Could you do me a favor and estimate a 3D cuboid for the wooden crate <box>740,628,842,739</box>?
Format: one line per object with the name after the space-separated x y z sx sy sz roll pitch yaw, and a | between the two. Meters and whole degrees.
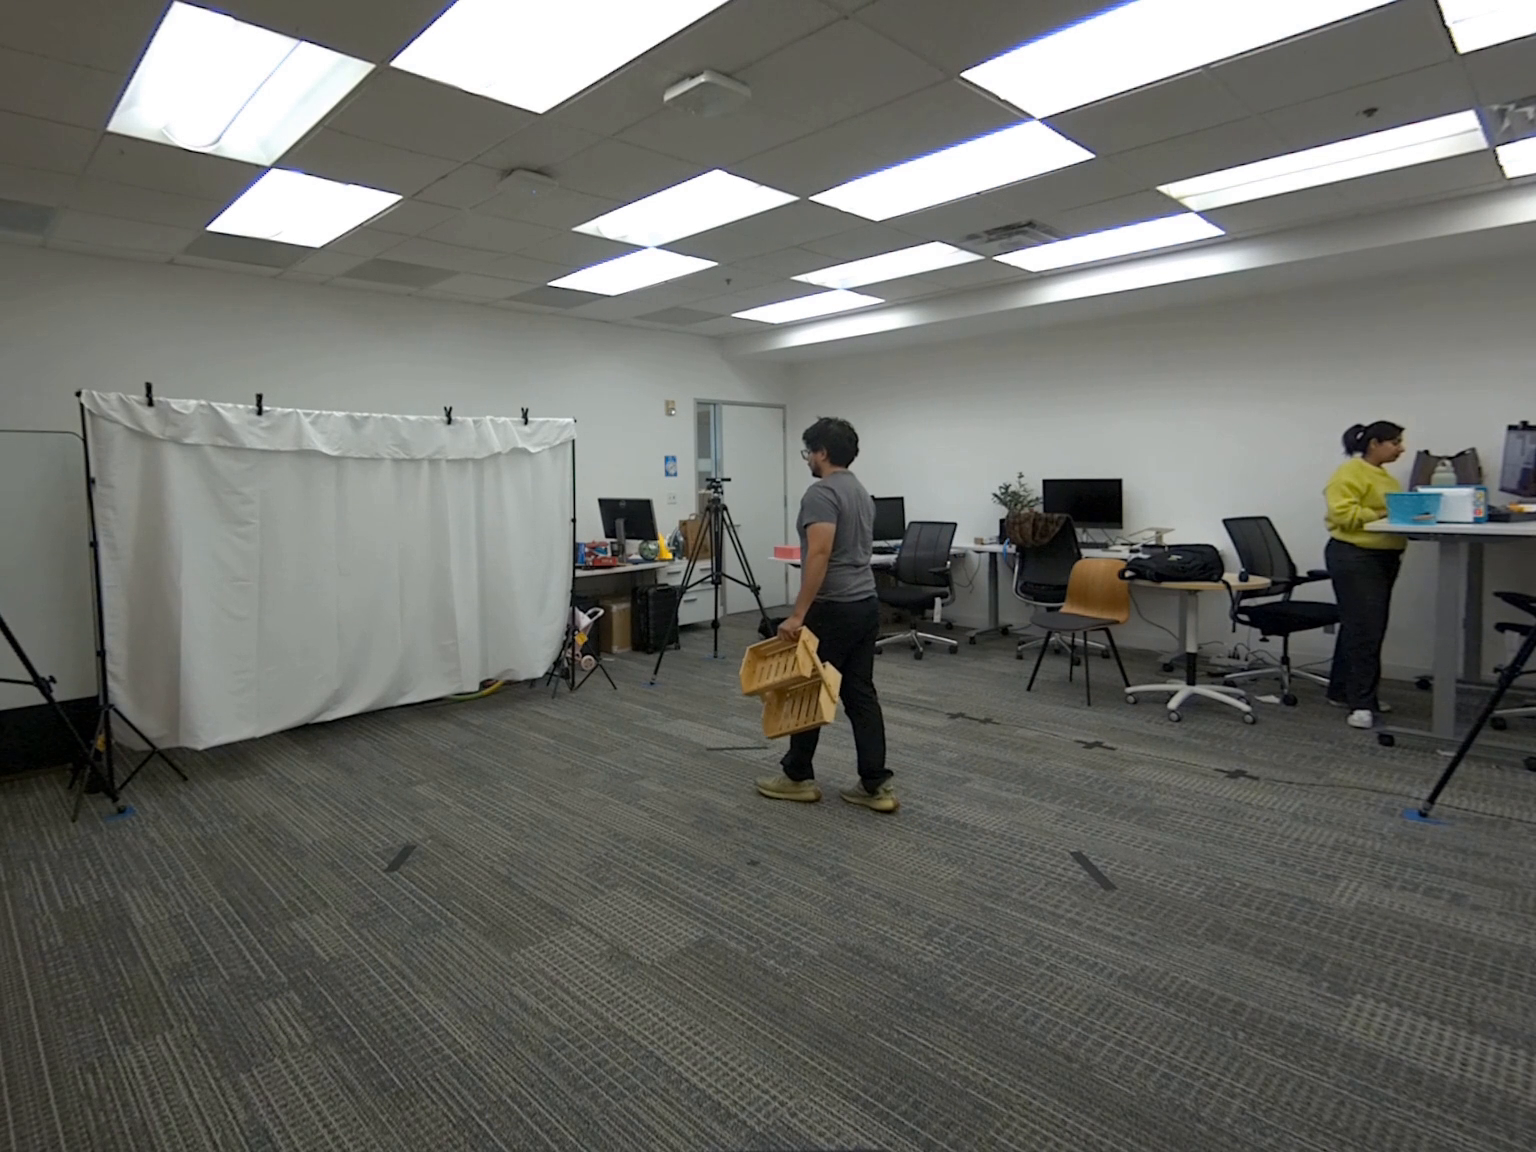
0.071 0.427 3.360 0.329 0.265 0.307 -24 32 36 | wooden crate
